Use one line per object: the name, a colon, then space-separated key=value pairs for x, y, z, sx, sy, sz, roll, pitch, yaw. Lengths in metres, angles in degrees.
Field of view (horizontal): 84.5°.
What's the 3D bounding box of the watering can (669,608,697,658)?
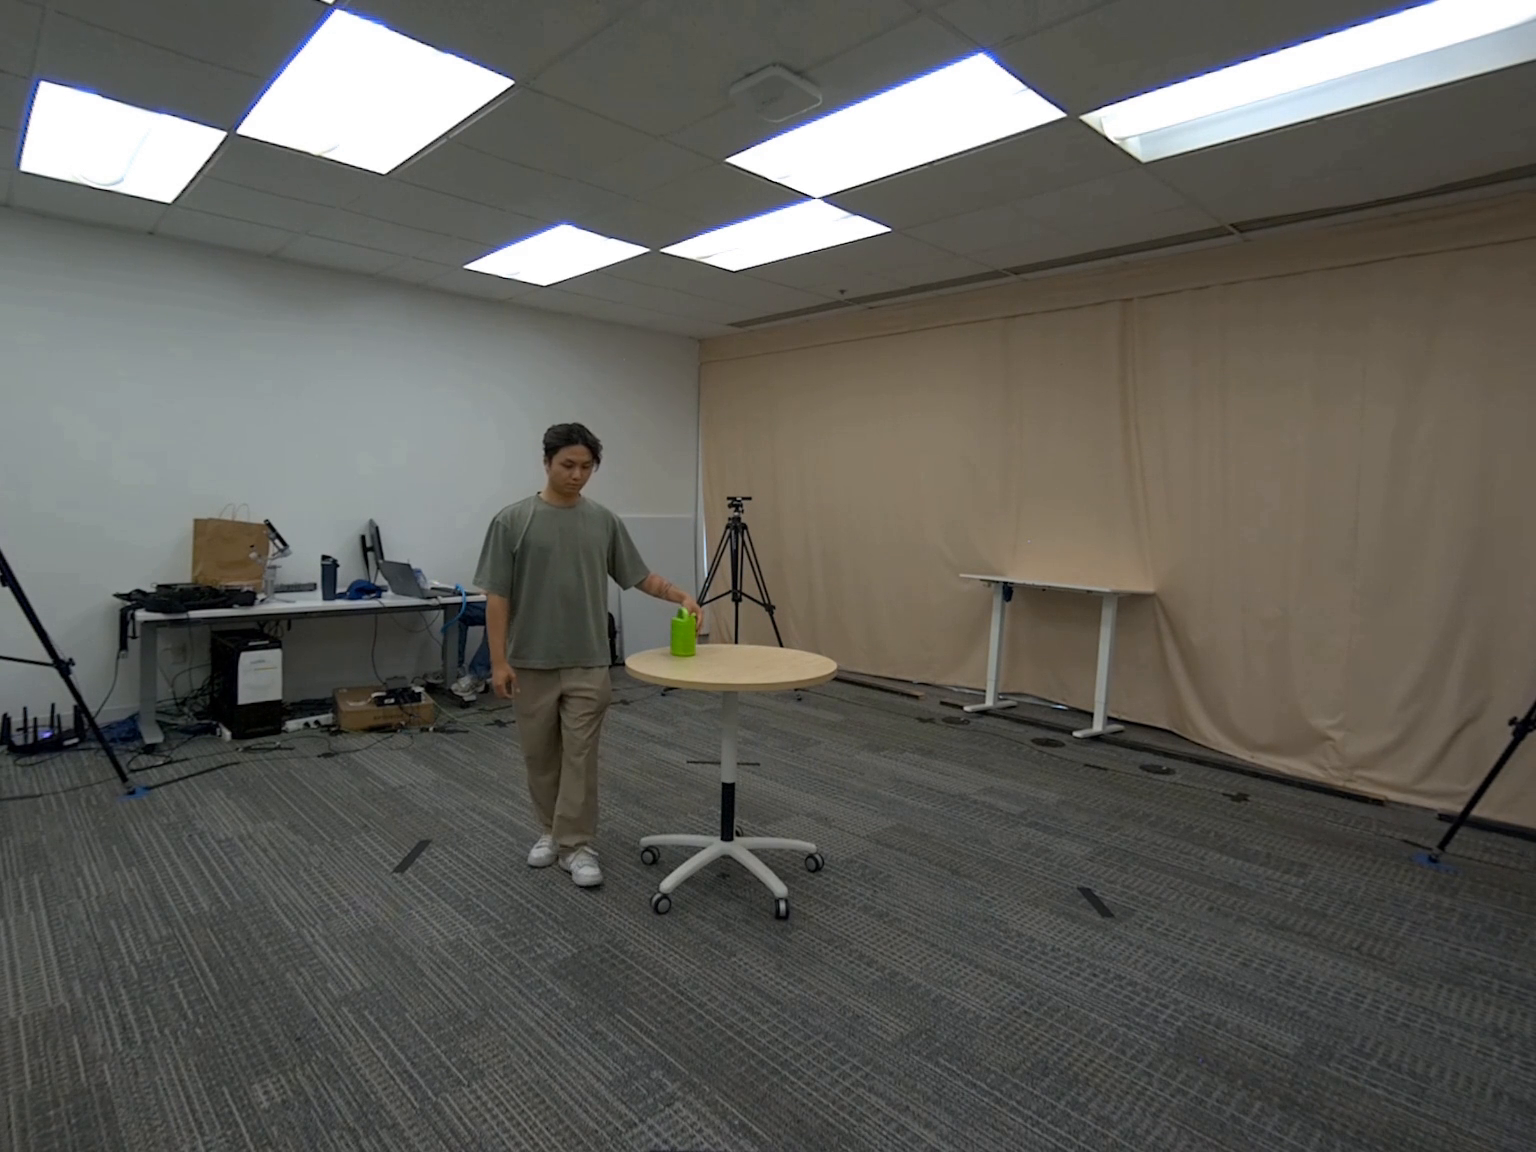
watering can: x=-0.330 y=0.221 z=3.151 sx=0.098 sy=0.176 sz=0.280 roll=-2 pitch=8 yaw=-4
